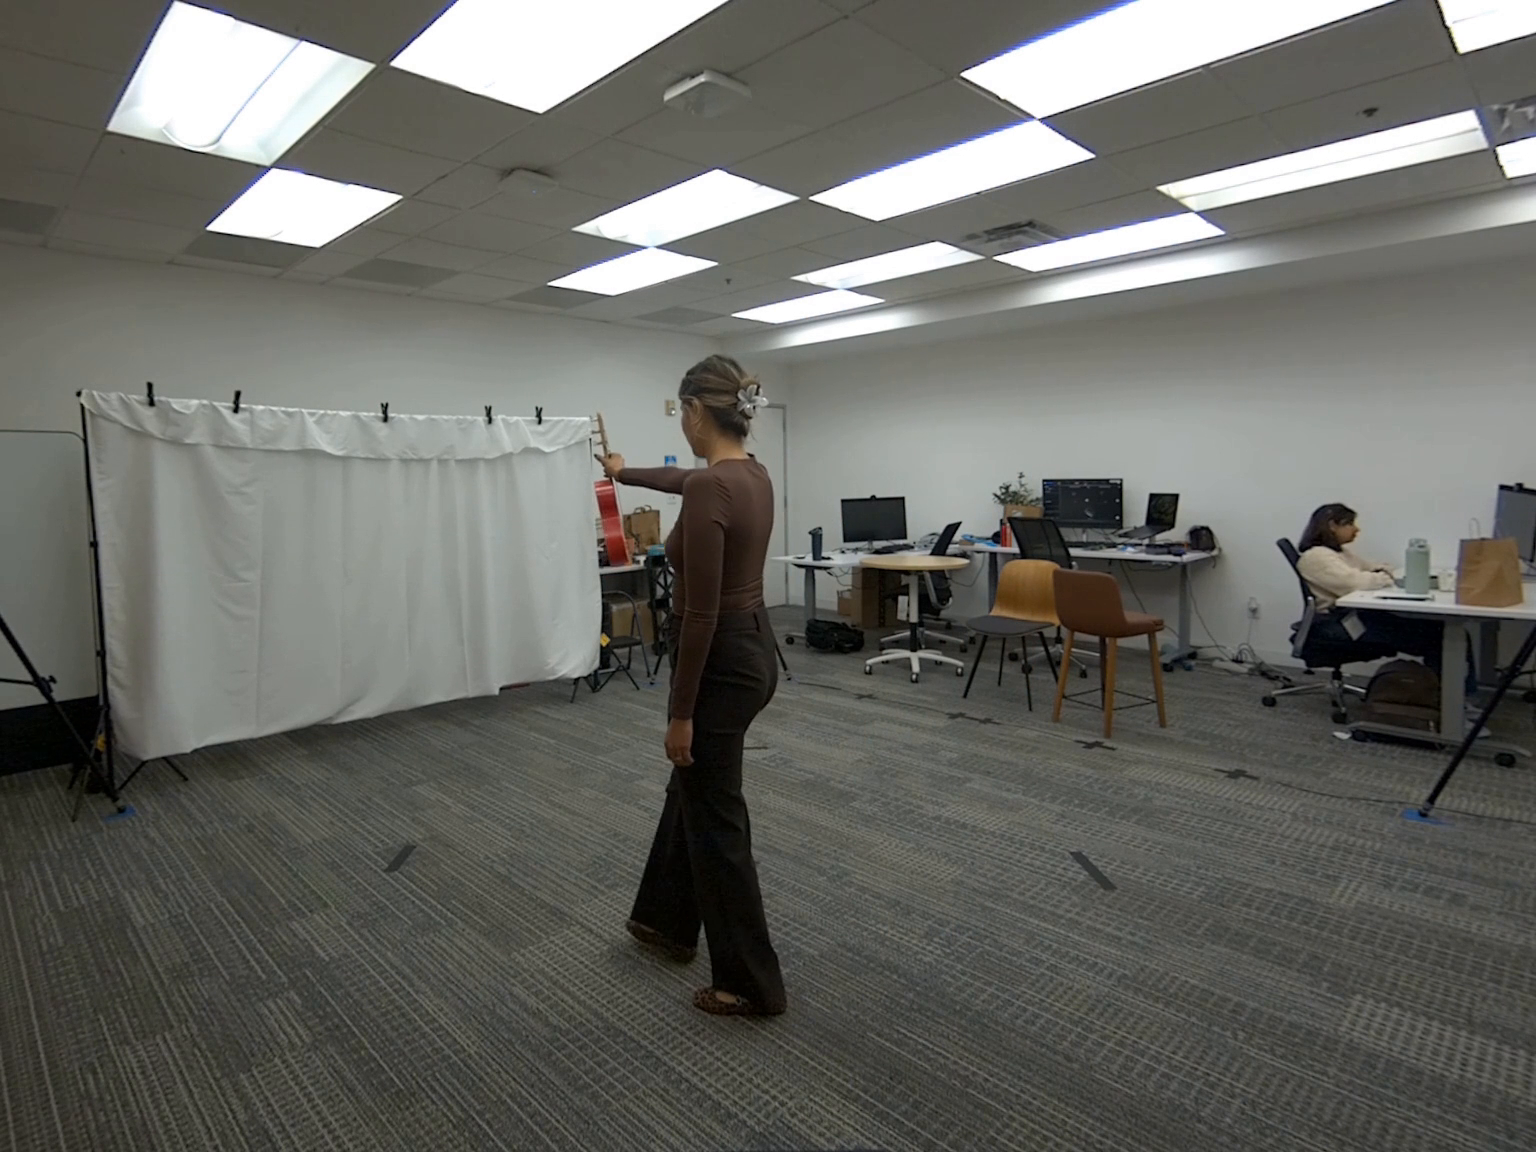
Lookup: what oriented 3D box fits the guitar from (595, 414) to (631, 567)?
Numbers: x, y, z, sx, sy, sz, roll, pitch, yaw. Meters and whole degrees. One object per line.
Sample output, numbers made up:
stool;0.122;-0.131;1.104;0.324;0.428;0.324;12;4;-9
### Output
guitar;-0.526;-0.279;2.806;0.070;0.502;0.192;-11;-8;-6
